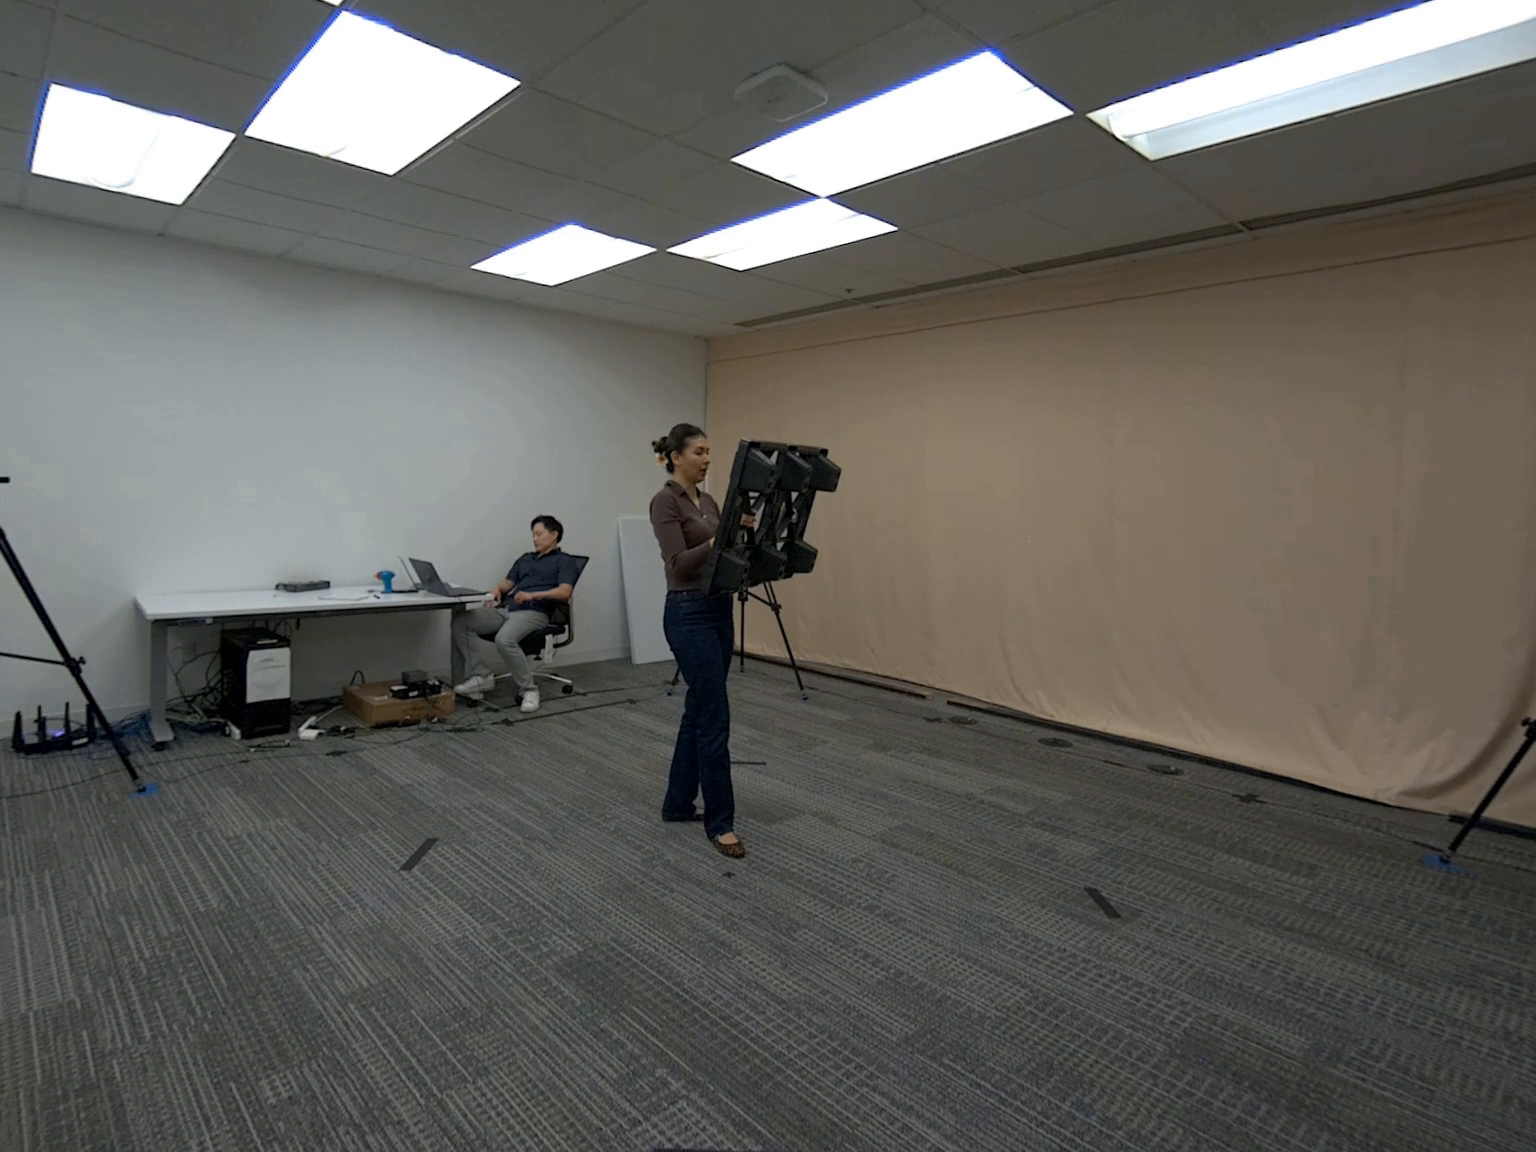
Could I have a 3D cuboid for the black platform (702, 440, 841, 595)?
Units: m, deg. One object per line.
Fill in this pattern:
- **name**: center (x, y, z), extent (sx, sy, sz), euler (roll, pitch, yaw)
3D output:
- **black platform**: center (0.044, -0.231, 3.367), extent (0.146, 0.601, 0.793), euler (20, 13, 22)
